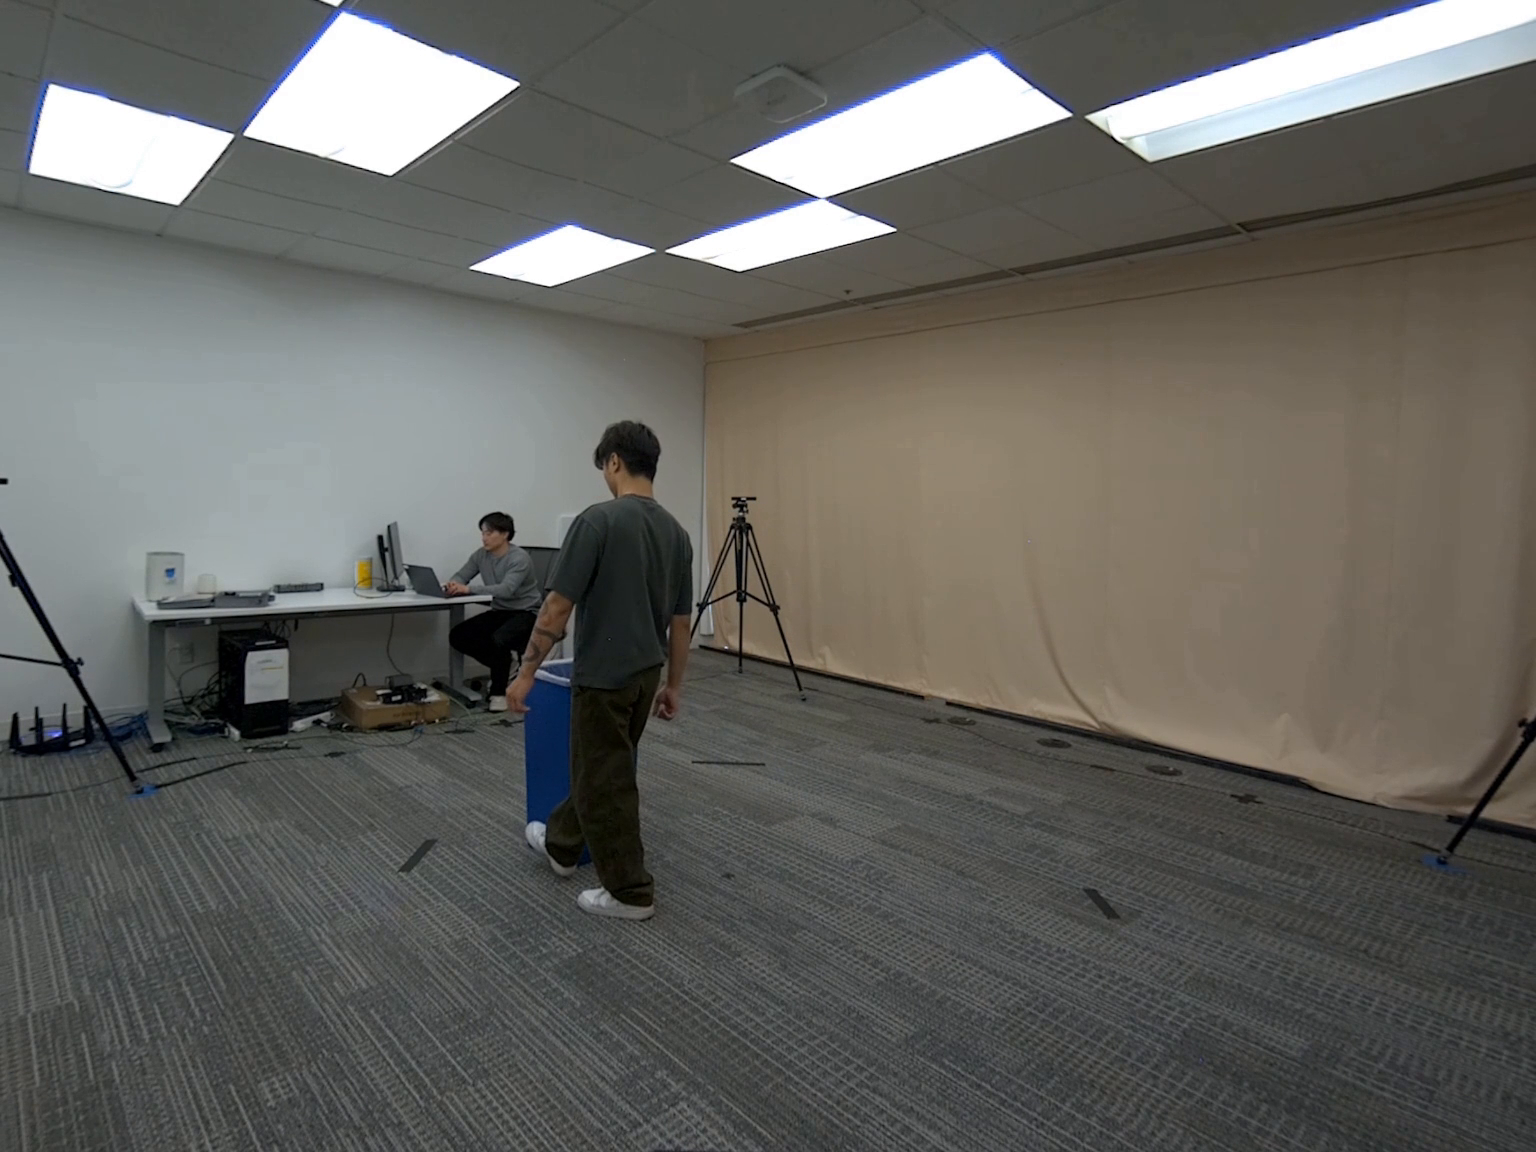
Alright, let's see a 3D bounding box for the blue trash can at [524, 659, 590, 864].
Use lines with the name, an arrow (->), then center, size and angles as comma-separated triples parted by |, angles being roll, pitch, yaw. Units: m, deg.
blue trash can -> -0.747, 0.719, 3.321 | 0.387, 0.712, 0.365 | 5, 3, 41
